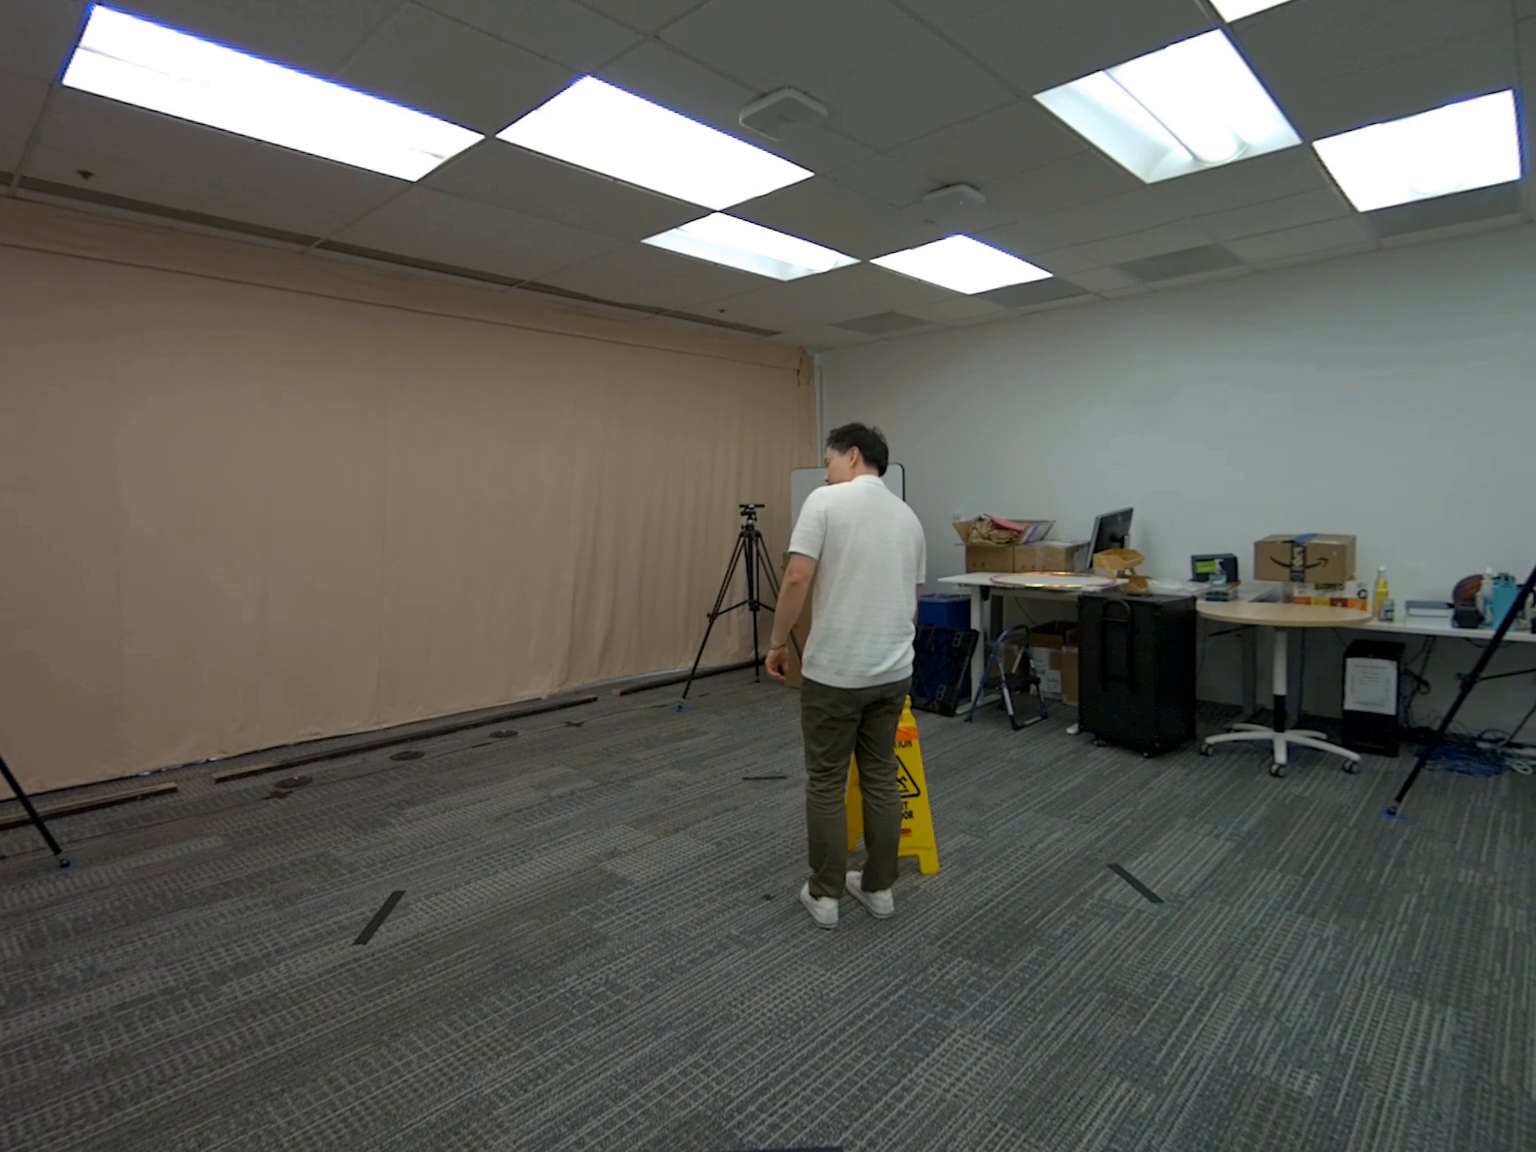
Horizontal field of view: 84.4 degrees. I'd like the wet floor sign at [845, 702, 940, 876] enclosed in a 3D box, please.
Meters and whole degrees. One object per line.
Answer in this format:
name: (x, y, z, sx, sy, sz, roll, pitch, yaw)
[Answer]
wet floor sign: (0.460, 0.783, 3.250, 0.277, 0.645, 0.296, -1, 3, -20)
